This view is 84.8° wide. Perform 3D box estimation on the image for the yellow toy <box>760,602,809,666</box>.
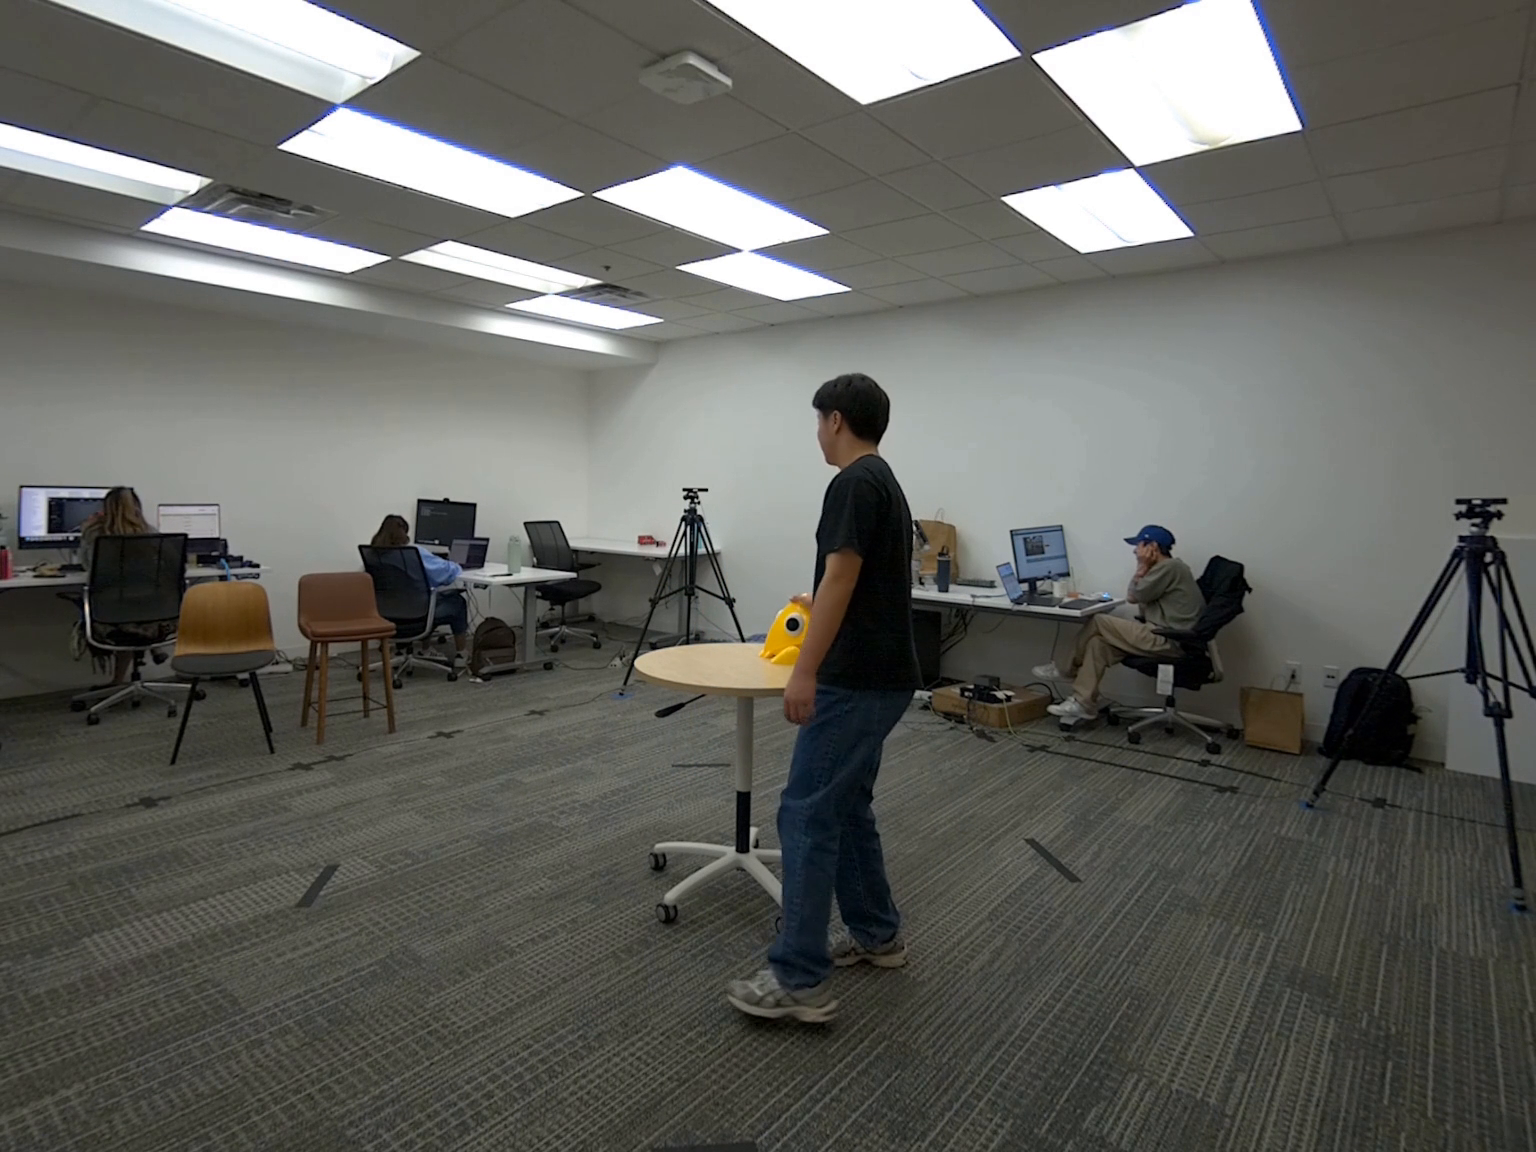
[{"bbox_3d":[0.061,0.174,2.987,0.190,0.230,0.209,0,4,-17],"label":"yellow toy"}]
